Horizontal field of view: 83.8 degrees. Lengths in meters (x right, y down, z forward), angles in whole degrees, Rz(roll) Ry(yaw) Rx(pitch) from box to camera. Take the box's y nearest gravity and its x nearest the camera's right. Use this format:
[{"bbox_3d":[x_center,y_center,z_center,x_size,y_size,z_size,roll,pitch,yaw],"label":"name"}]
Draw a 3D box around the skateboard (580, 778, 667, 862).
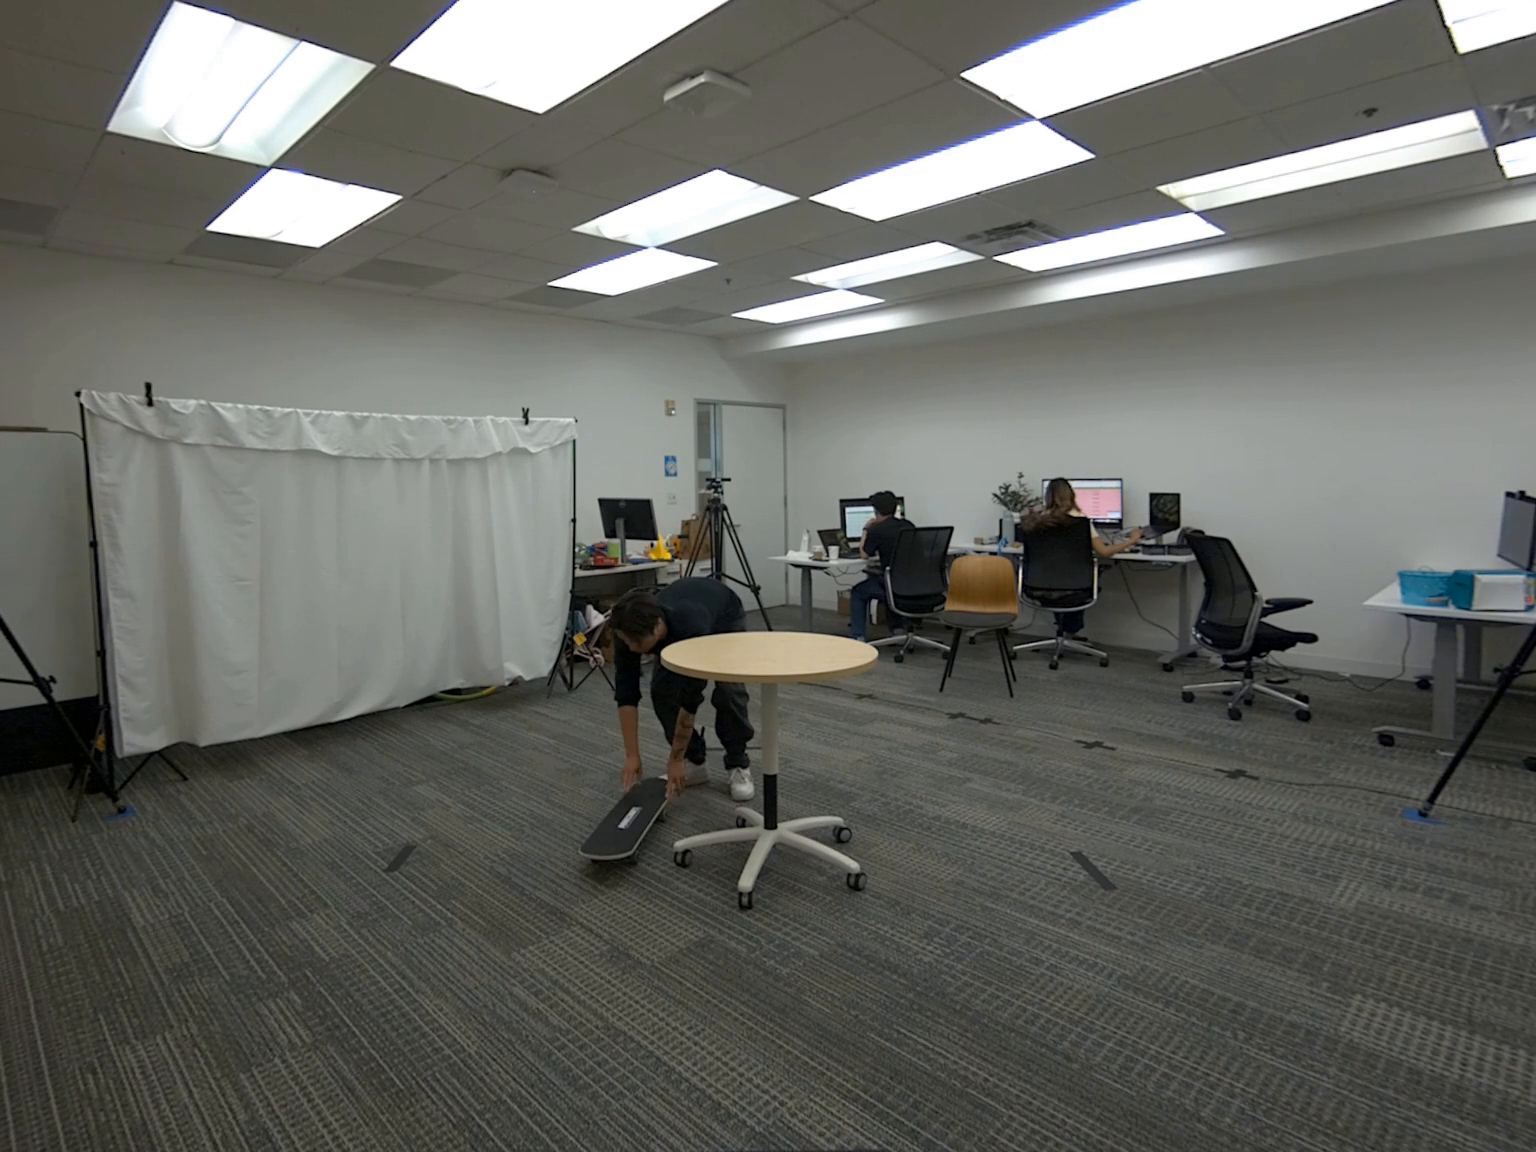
[{"bbox_3d":[-0.536,0.970,3.320,0.195,0.110,0.782,-1,6,8],"label":"skateboard"}]
